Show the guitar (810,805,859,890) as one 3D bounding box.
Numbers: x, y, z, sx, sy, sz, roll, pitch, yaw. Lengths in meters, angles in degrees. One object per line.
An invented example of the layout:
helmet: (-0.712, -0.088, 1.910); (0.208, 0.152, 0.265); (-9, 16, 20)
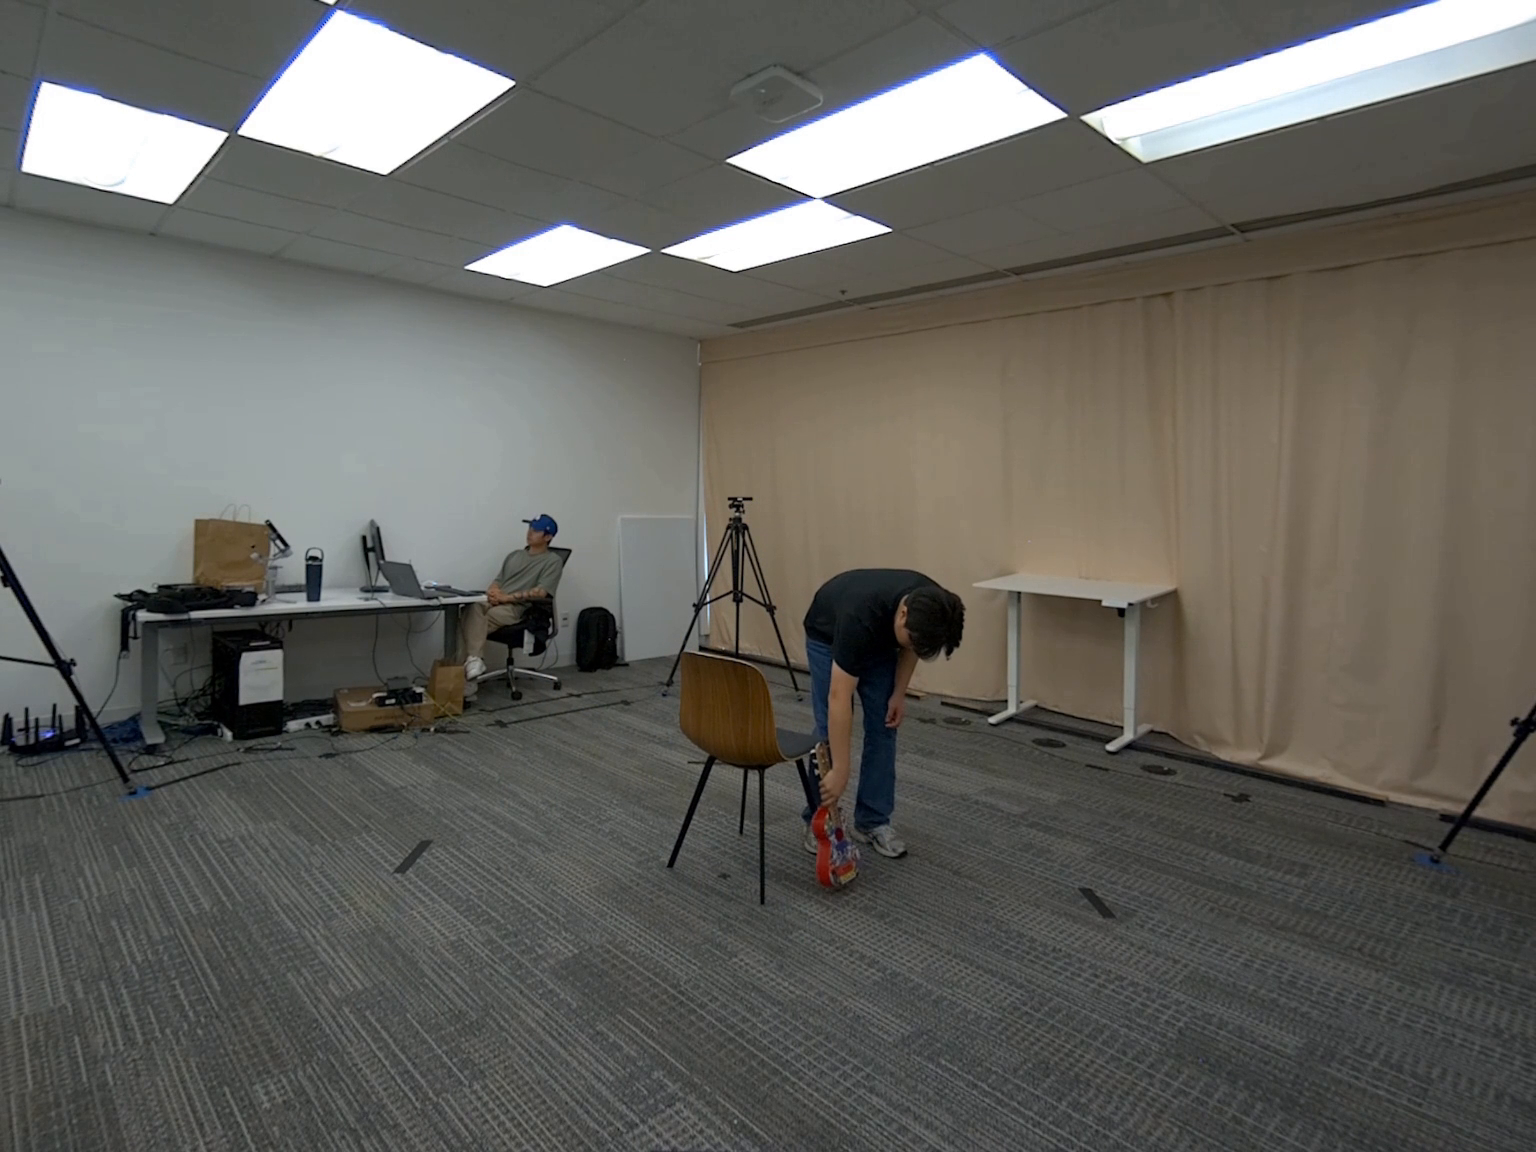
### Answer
guitar: (0.234, 0.853, 3.045); (0.072, 0.502, 0.188); (-16, -15, 42)
